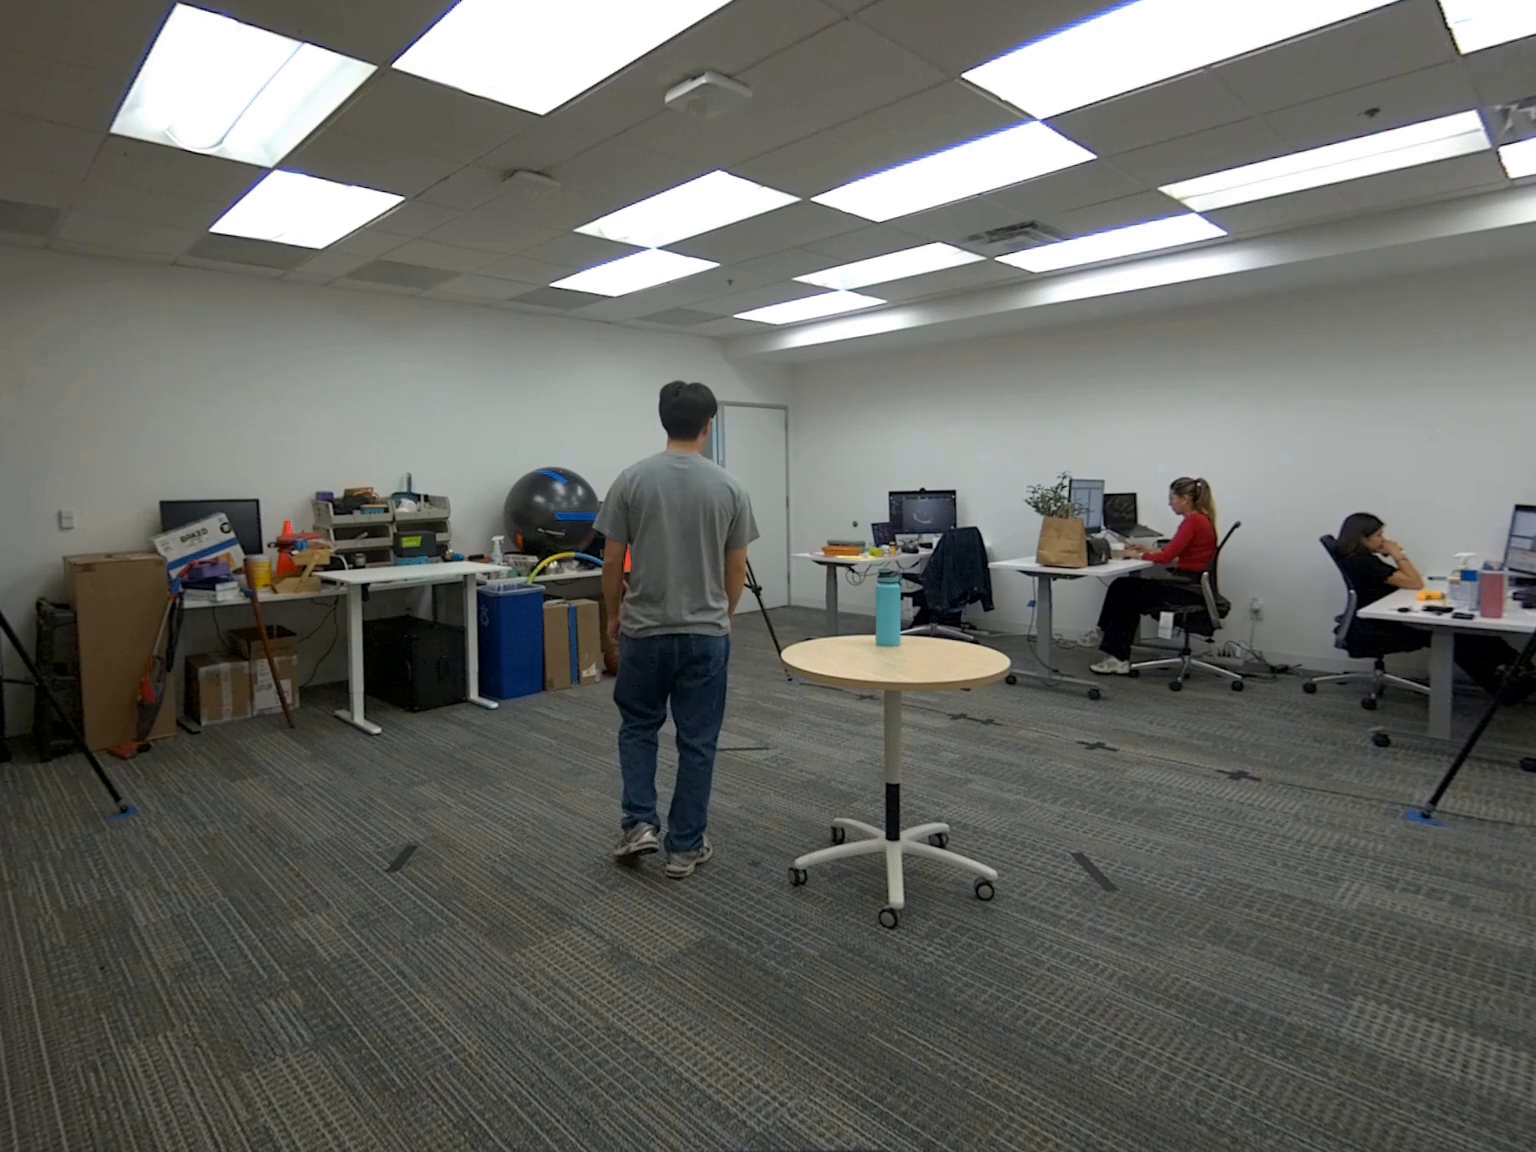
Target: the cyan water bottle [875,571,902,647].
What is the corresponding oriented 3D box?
[{"bbox_3d":[0.439,0.111,3.117,0.092,0.283,0.092,0,2,-2],"label":"cyan water bottle"}]
